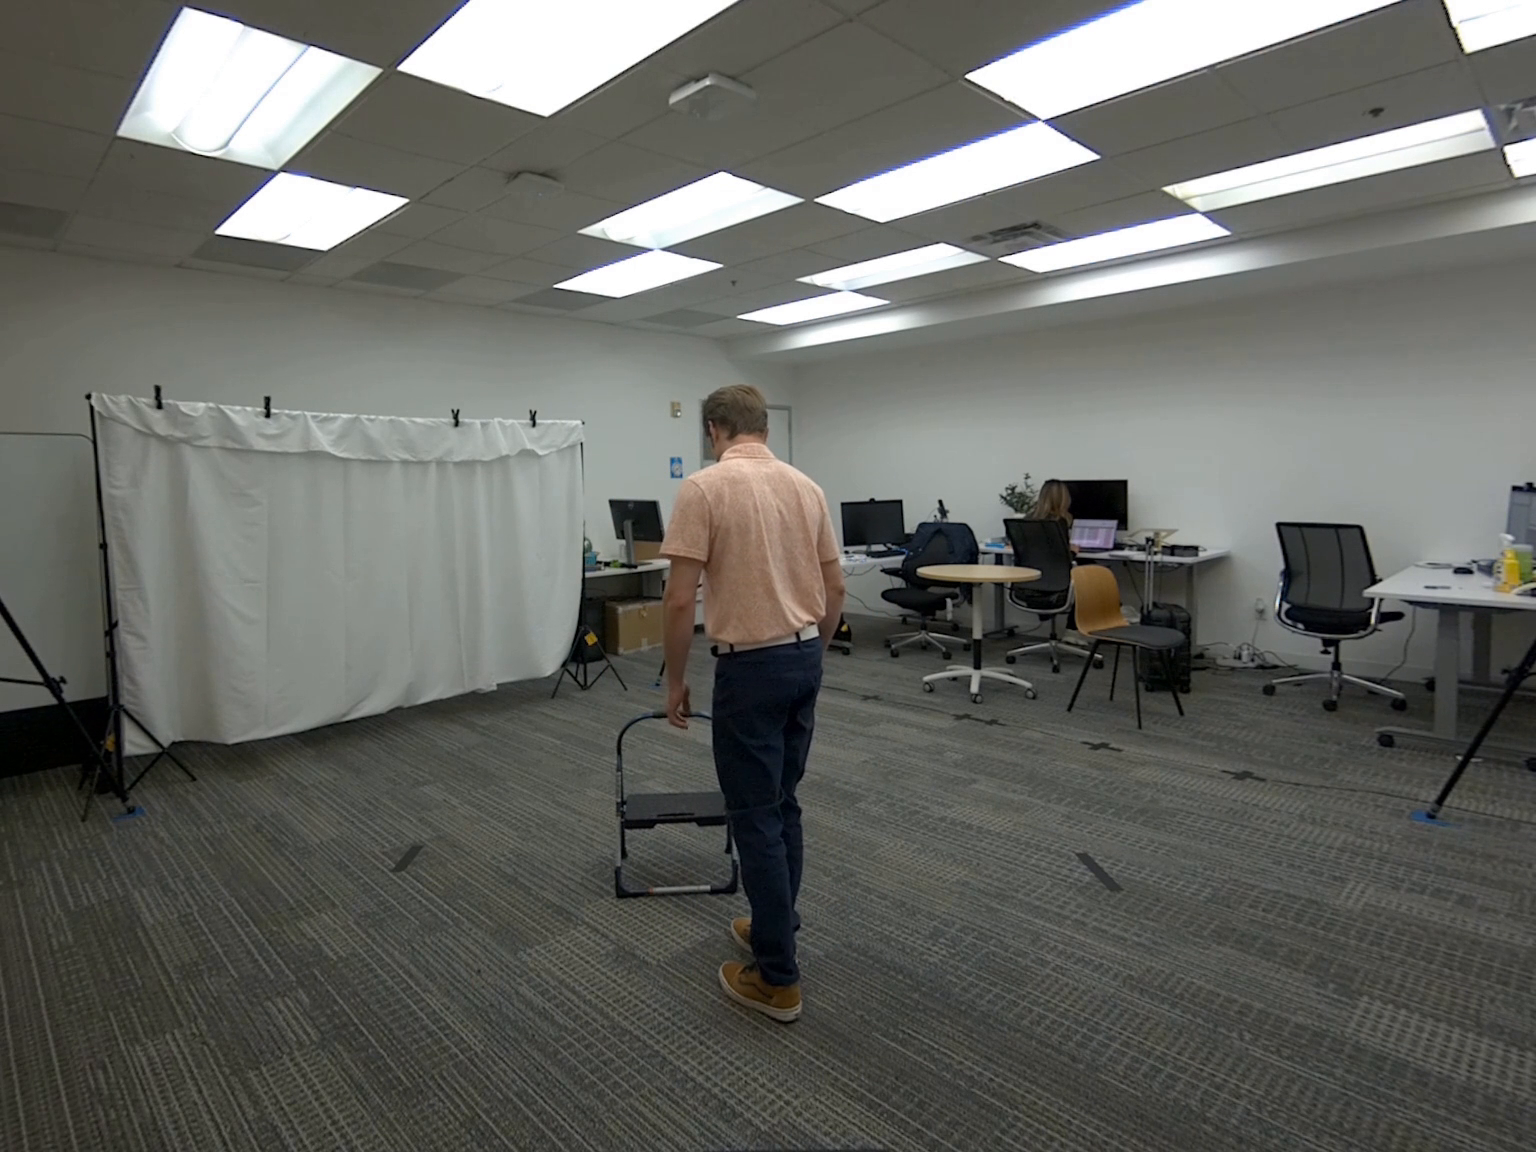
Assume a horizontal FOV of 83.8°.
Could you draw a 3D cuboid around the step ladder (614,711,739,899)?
[{"bbox_3d":[-0.330,0.763,3.024,0.428,0.604,0.352,-2,4,-6],"label":"step ladder"}]
